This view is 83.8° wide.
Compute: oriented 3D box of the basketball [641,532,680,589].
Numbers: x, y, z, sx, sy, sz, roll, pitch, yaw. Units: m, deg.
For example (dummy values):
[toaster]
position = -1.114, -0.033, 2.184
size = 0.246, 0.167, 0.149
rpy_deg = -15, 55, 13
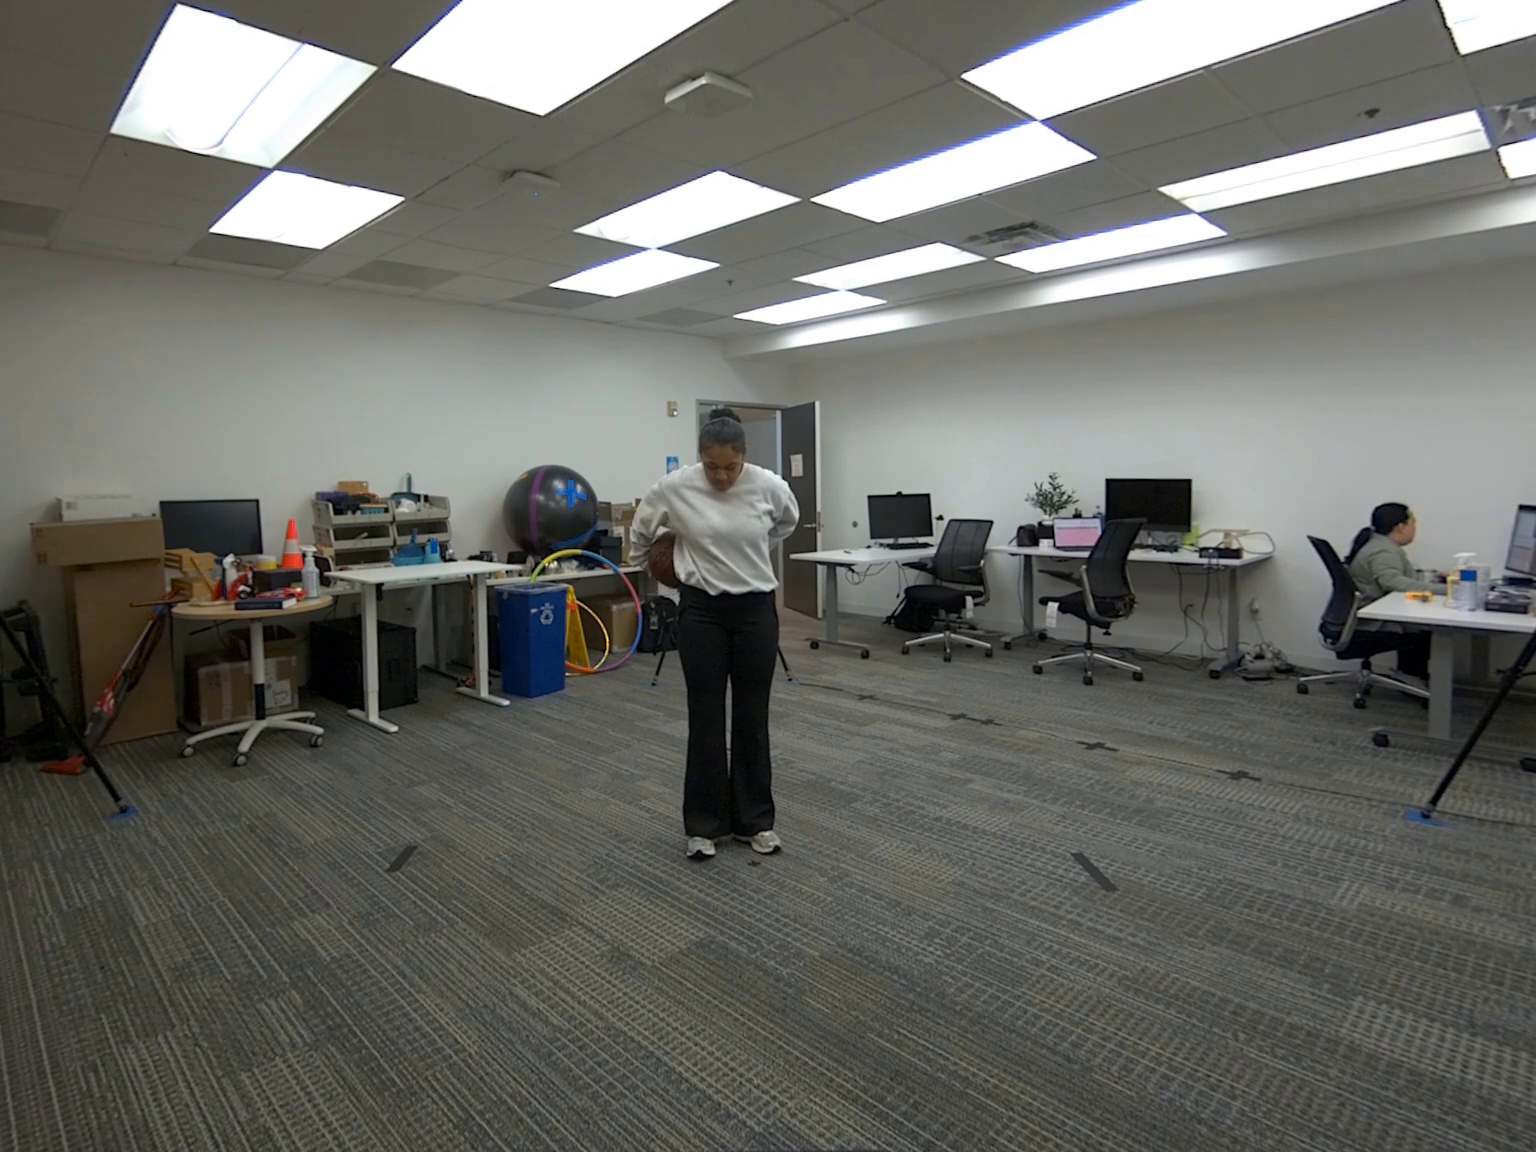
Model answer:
[basketball]
position = -0.350, -0.070, 3.375
size = 0.236, 0.235, 0.237
rpy_deg = -1, 5, -2
